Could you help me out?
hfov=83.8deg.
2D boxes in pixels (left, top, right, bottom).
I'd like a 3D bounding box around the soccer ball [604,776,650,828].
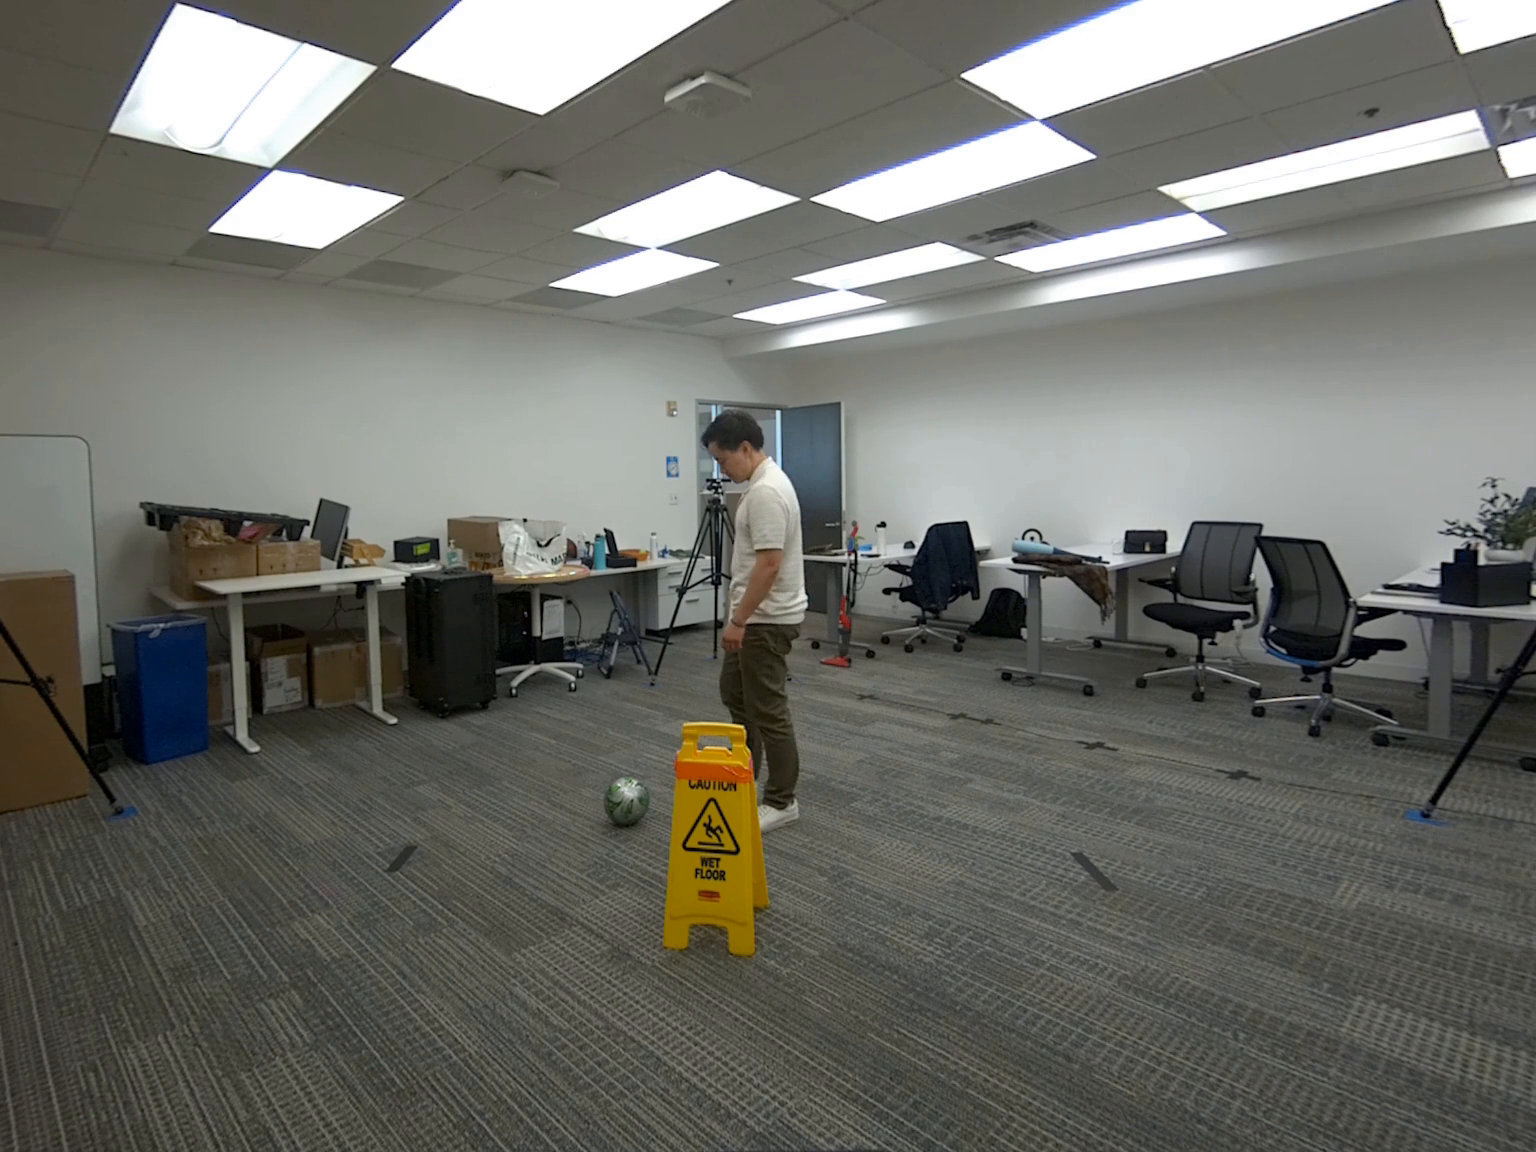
[{"bbox_3d":[-0.572,0.915,3.484,0.187,0.187,0.188,-1,5,-2],"label":"soccer ball"}]
